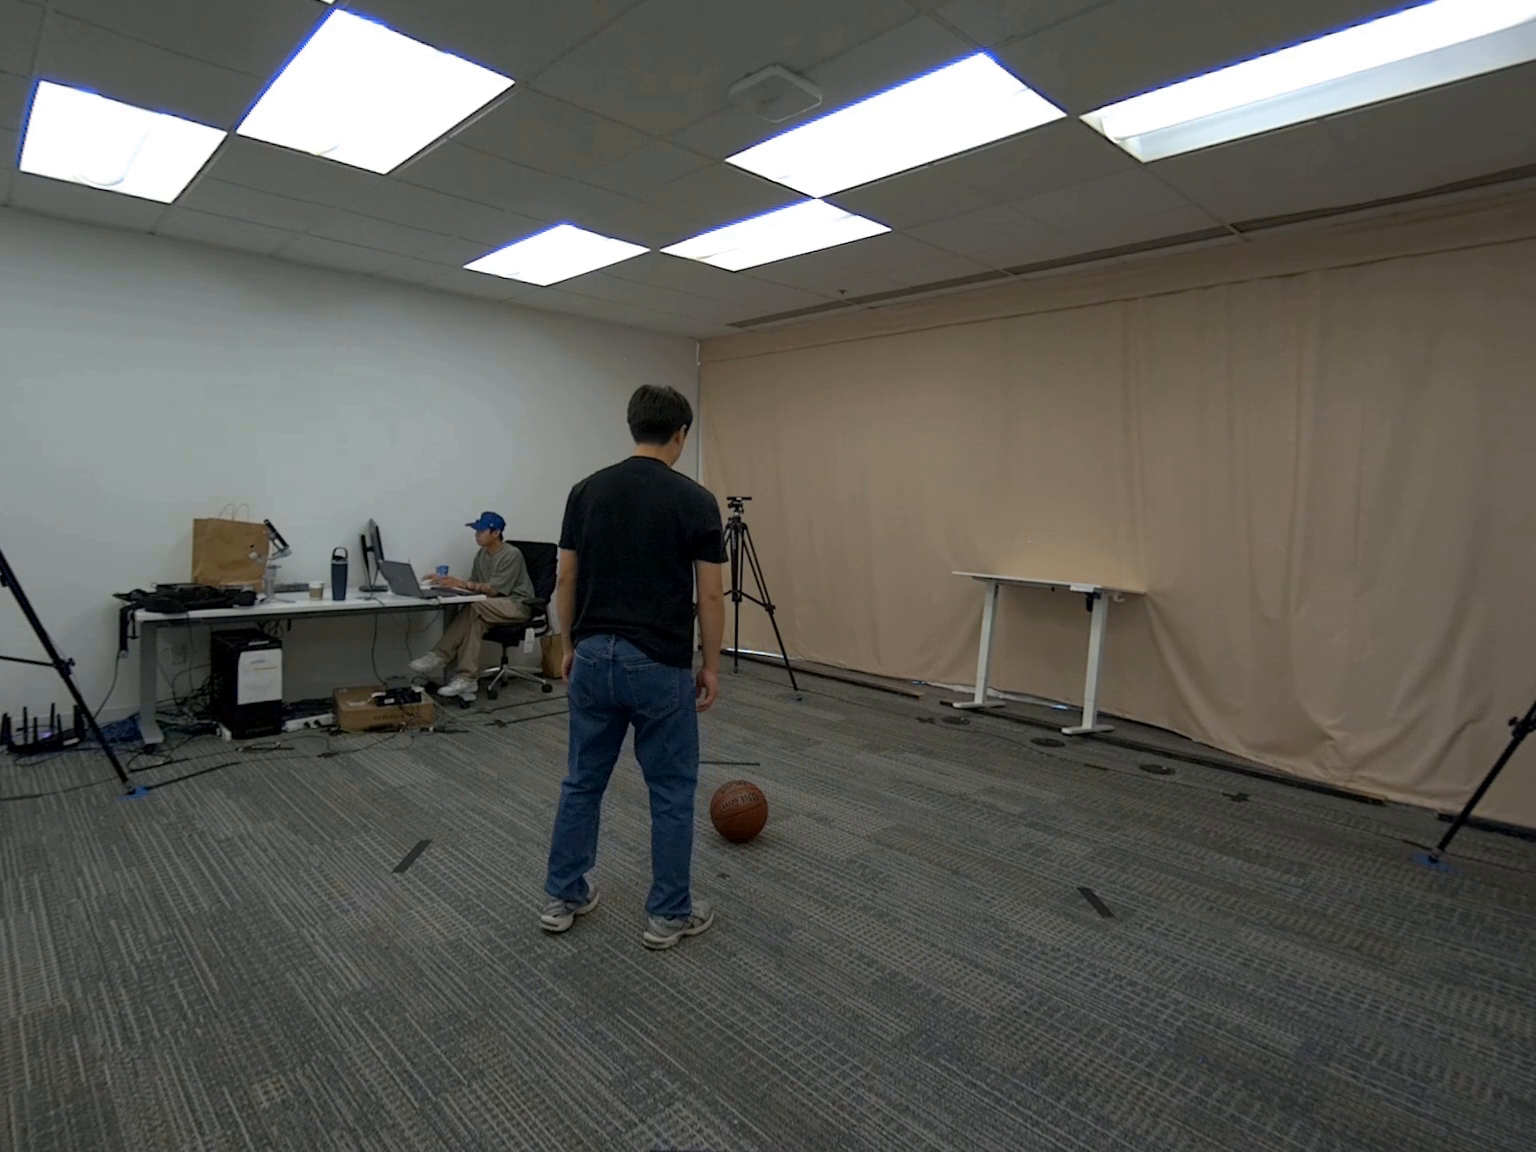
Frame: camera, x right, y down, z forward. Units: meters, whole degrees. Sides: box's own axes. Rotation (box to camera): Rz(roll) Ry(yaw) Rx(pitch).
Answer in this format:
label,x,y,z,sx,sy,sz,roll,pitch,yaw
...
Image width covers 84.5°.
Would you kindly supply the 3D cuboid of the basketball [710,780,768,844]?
label,x,y,z,sx,sy,sz,roll,pitch,yaw
basketball,-0.120,0.956,3.434,0.236,0.235,0.237,1,4,-1
